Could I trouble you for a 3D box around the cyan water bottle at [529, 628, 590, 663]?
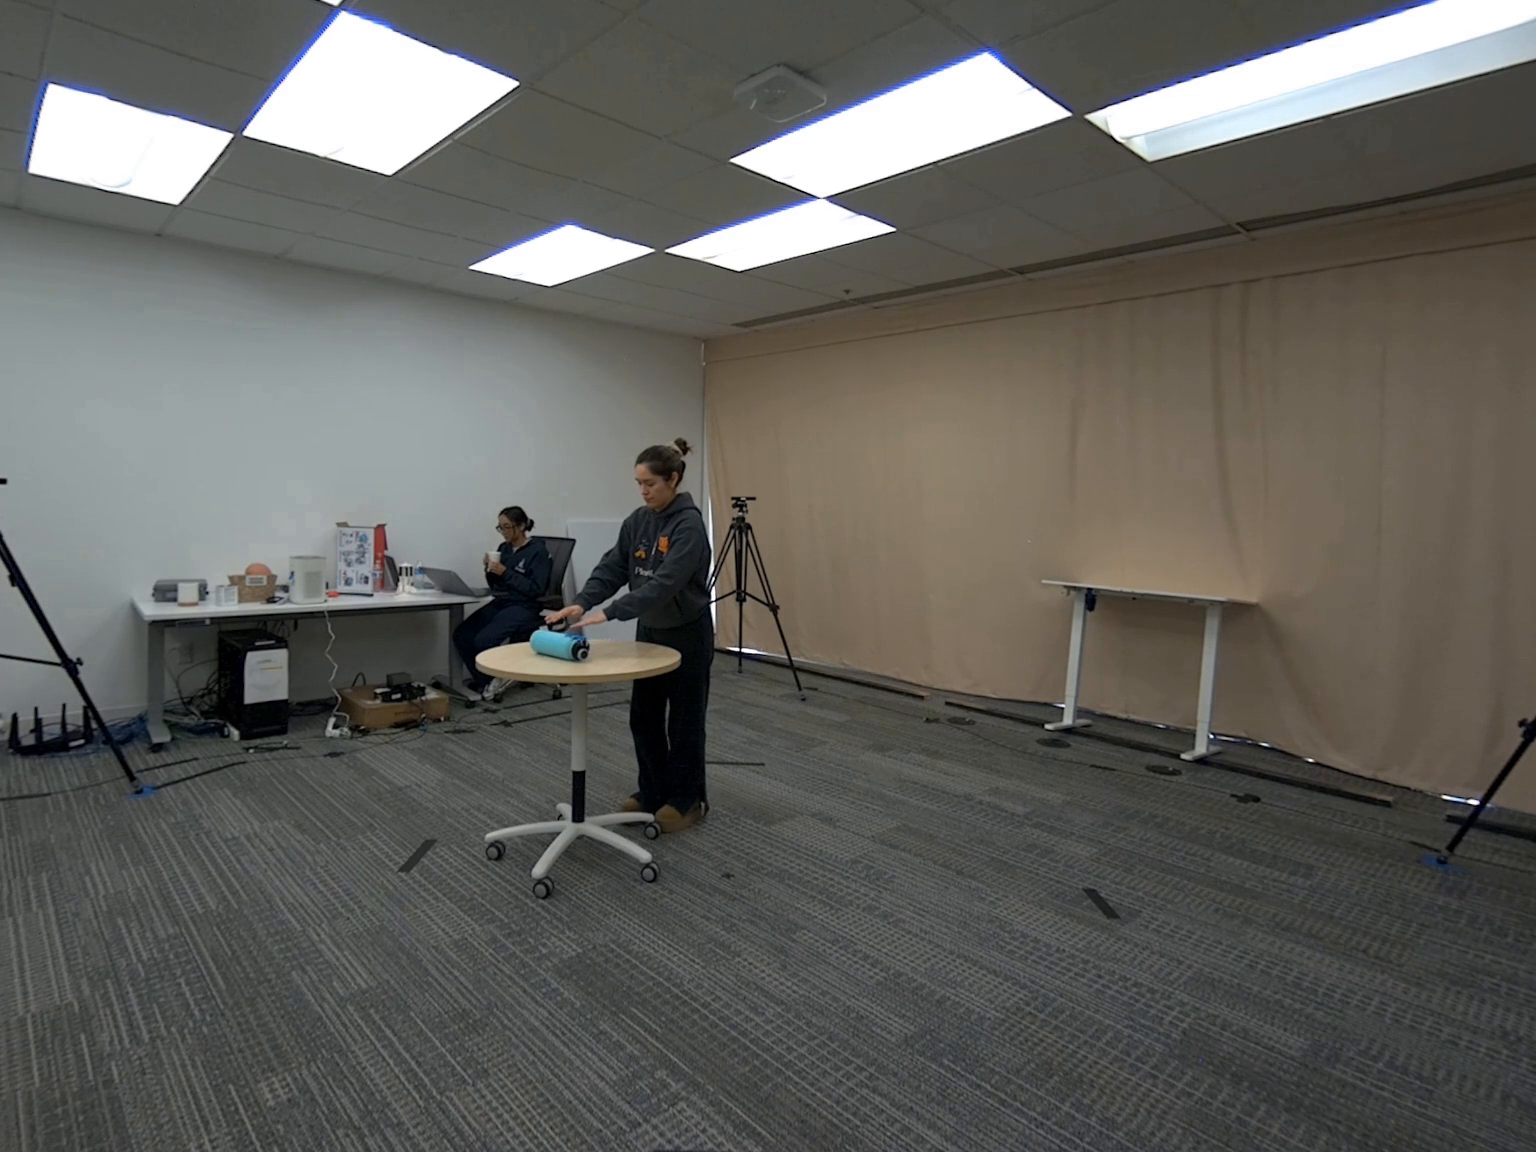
[{"bbox_3d":[-0.776,0.259,3.148,0.290,0.092,0.090,4,6,42],"label":"cyan water bottle"}]
